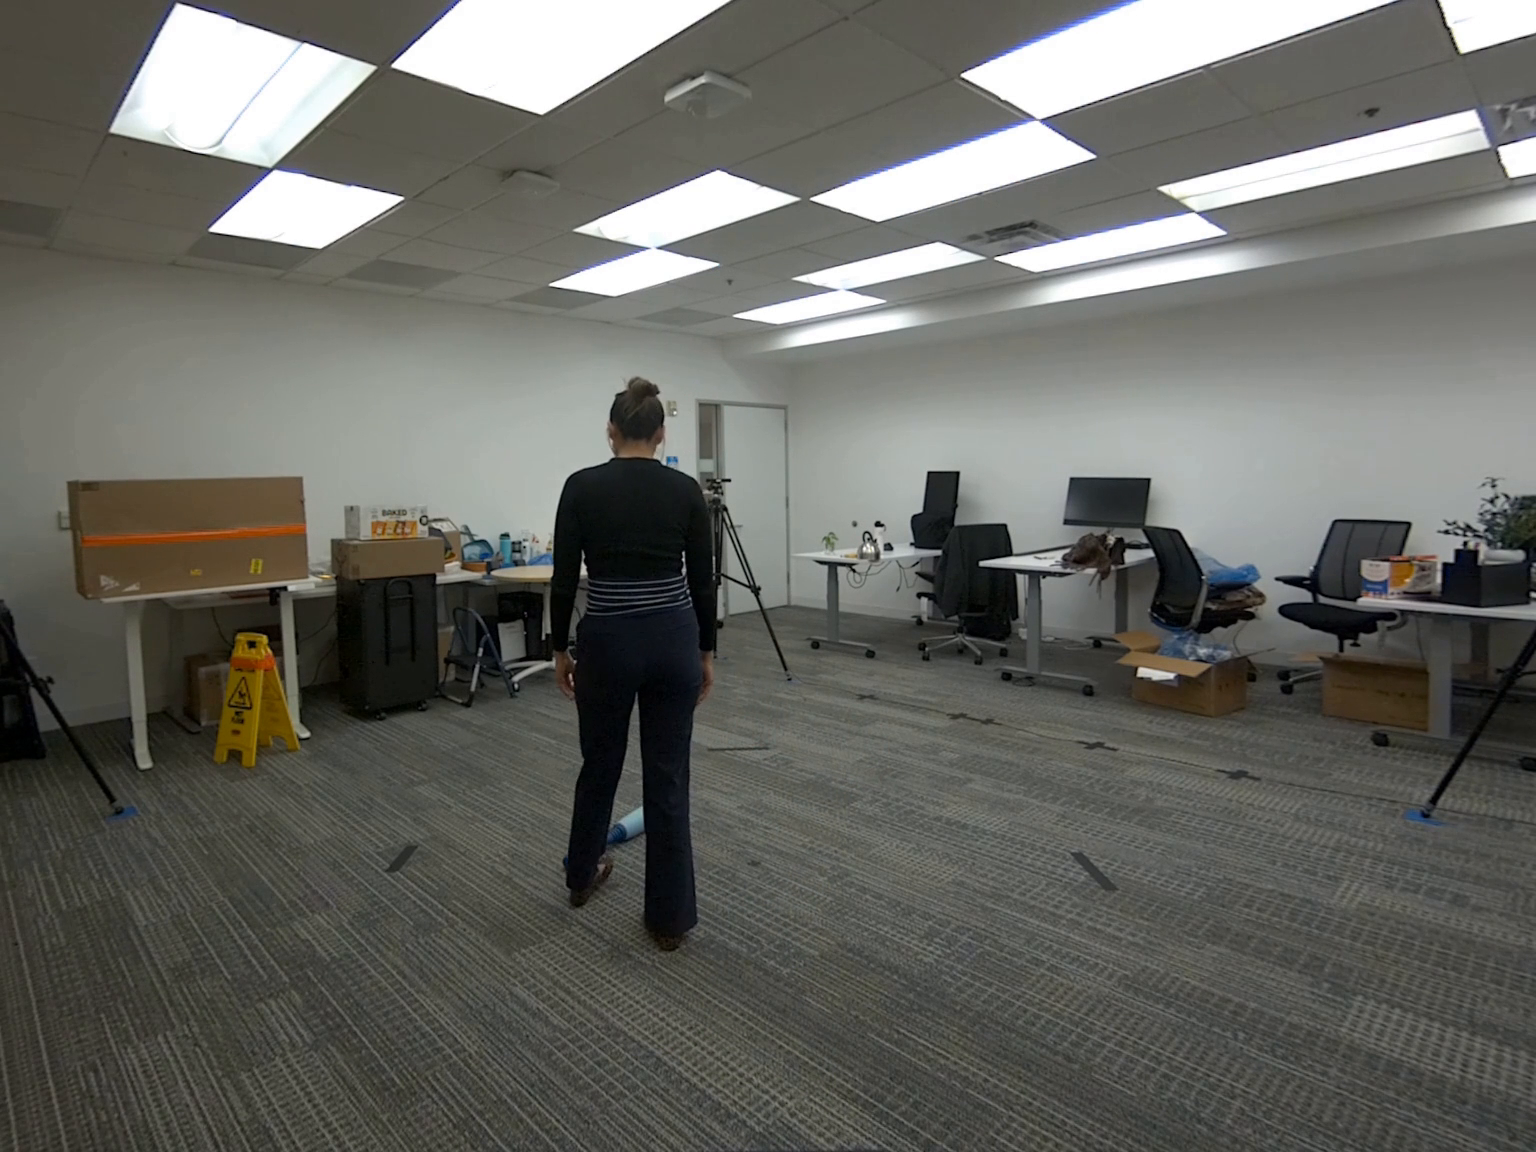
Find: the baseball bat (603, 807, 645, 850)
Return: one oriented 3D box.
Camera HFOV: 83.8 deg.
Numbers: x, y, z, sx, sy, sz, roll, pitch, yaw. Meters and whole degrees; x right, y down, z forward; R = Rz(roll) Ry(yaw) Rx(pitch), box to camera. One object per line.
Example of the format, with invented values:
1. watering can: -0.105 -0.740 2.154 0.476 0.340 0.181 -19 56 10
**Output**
1. baseball bat: -0.583 1.000 3.295 0.091 0.088 0.532 2 9 31
